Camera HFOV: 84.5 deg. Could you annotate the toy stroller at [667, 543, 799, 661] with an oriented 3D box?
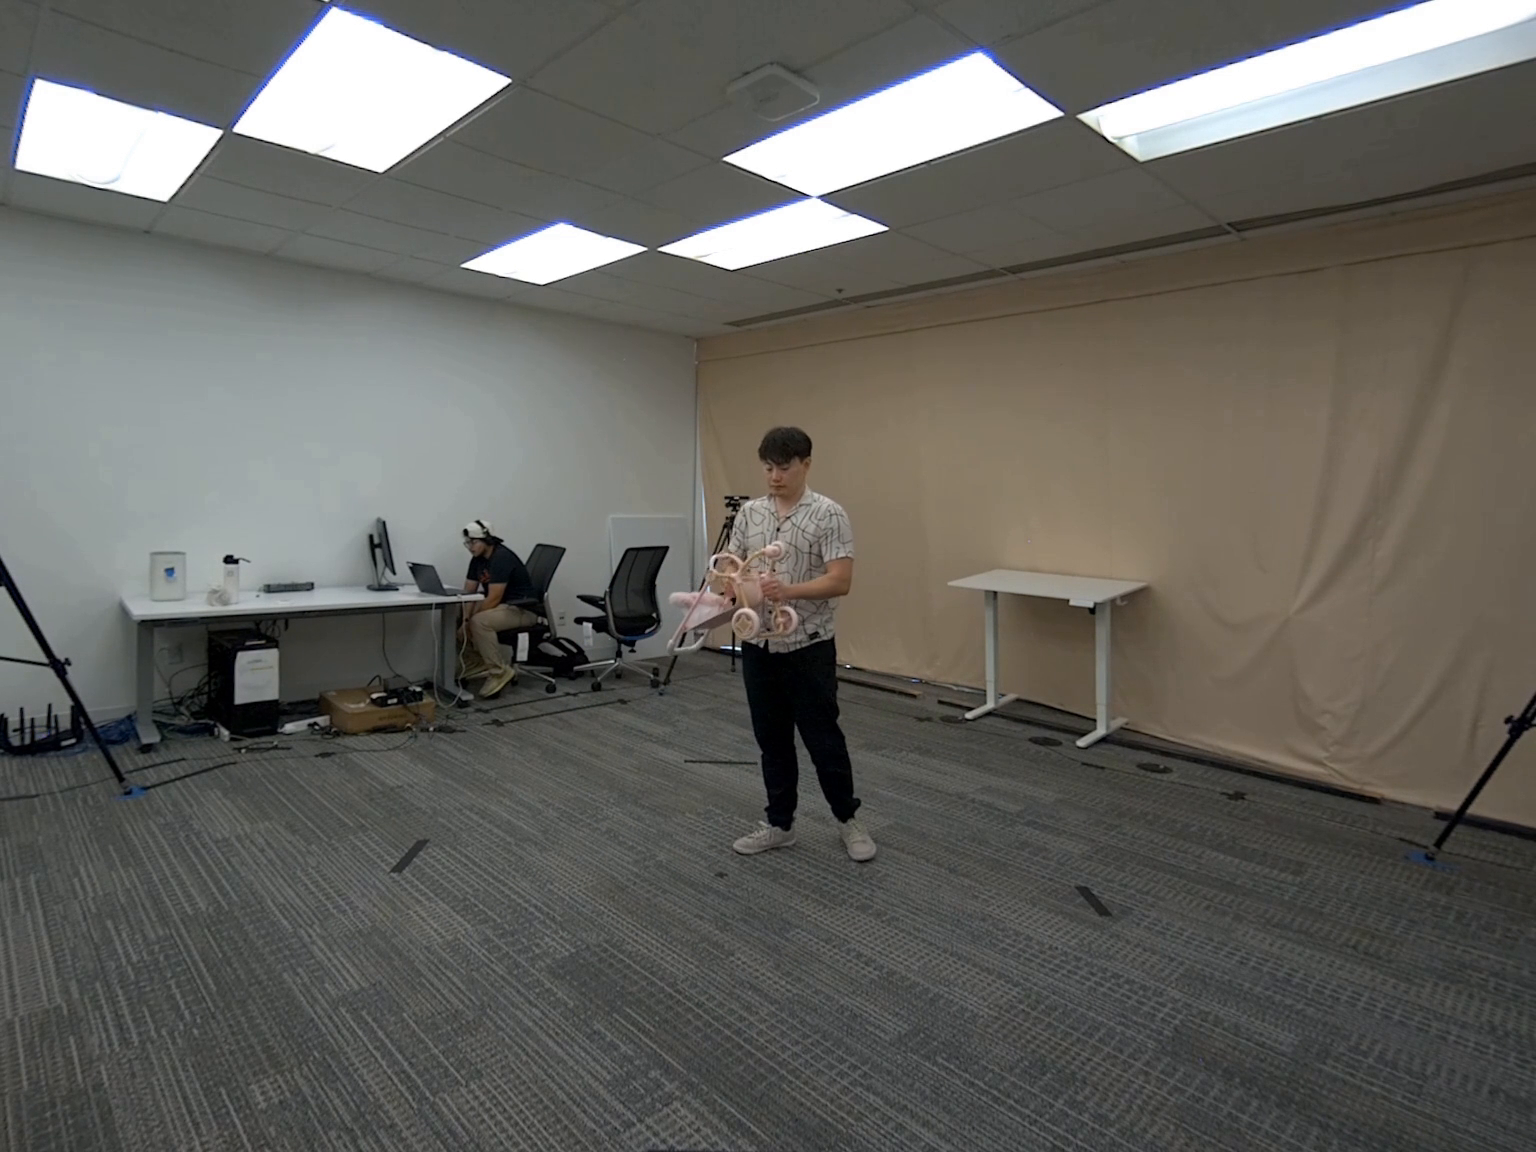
[{"bbox_3d":[-0.140,0.079,3.018,0.544,0.343,0.275,-12,-4,34],"label":"toy stroller"}]
